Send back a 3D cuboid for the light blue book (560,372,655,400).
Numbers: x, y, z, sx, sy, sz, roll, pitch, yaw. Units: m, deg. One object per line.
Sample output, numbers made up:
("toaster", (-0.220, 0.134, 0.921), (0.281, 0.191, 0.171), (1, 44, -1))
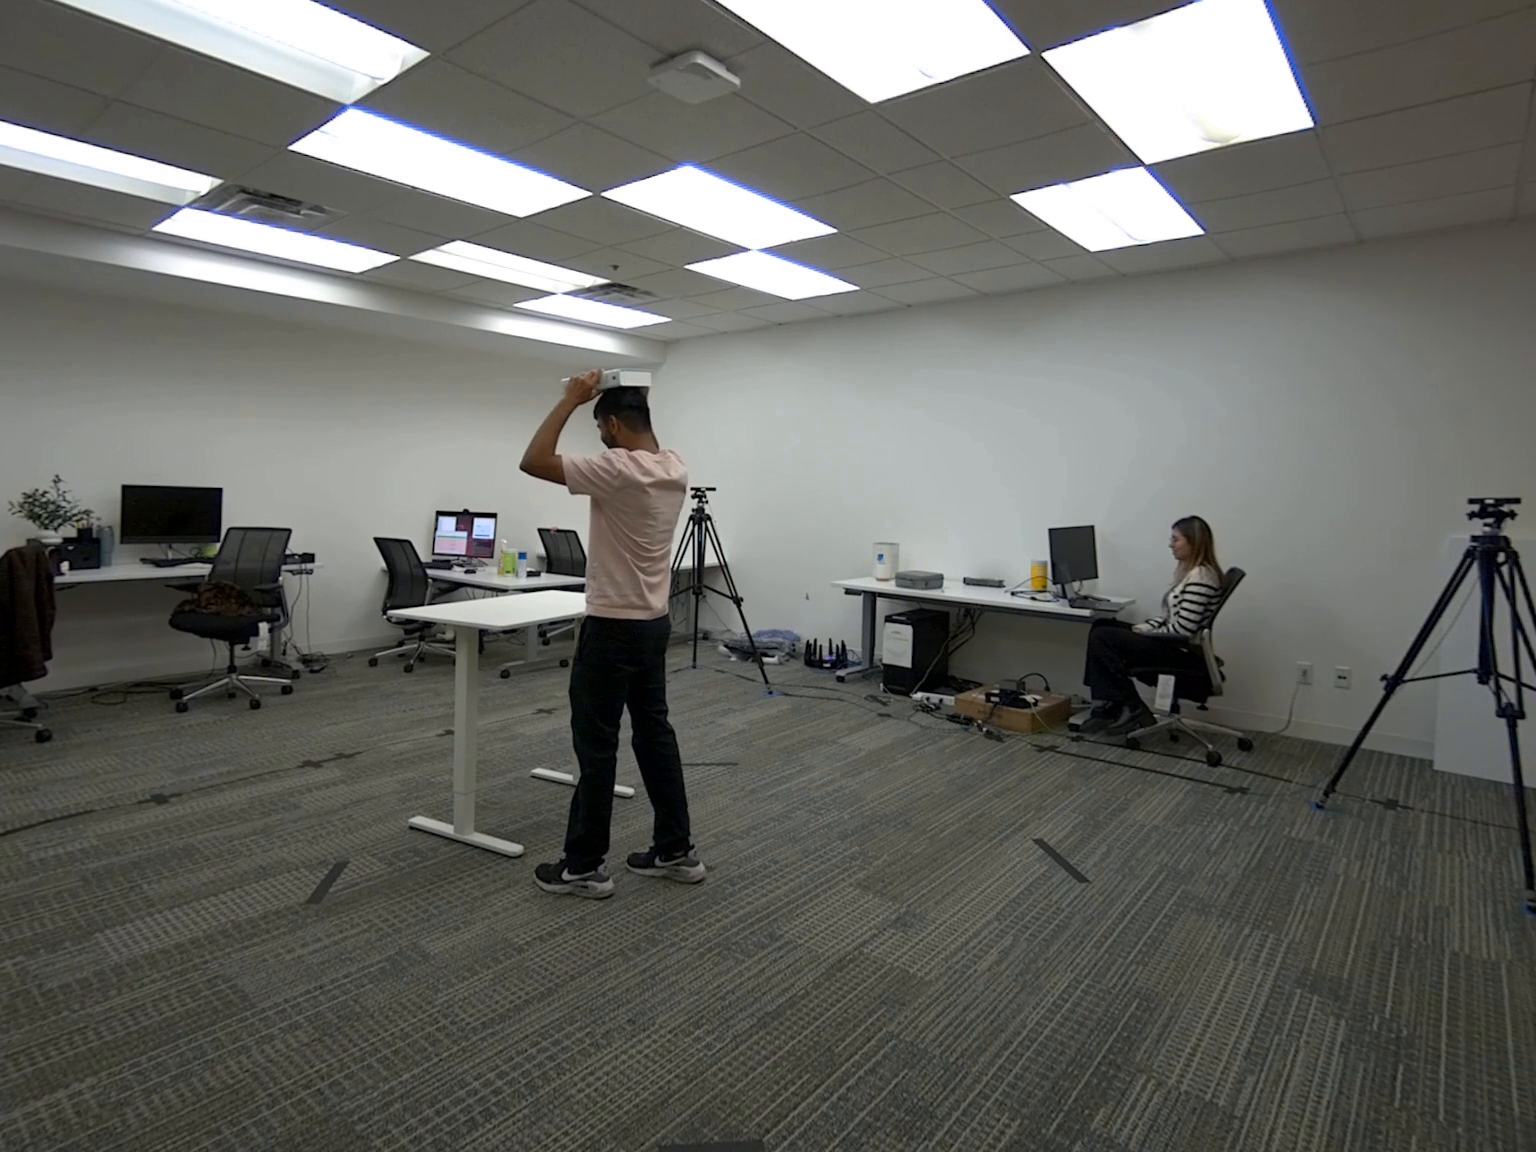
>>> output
("light blue book", (-0.565, -0.668, 2.960), (0.268, 0.058, 0.188), (-1, 10, 29))
